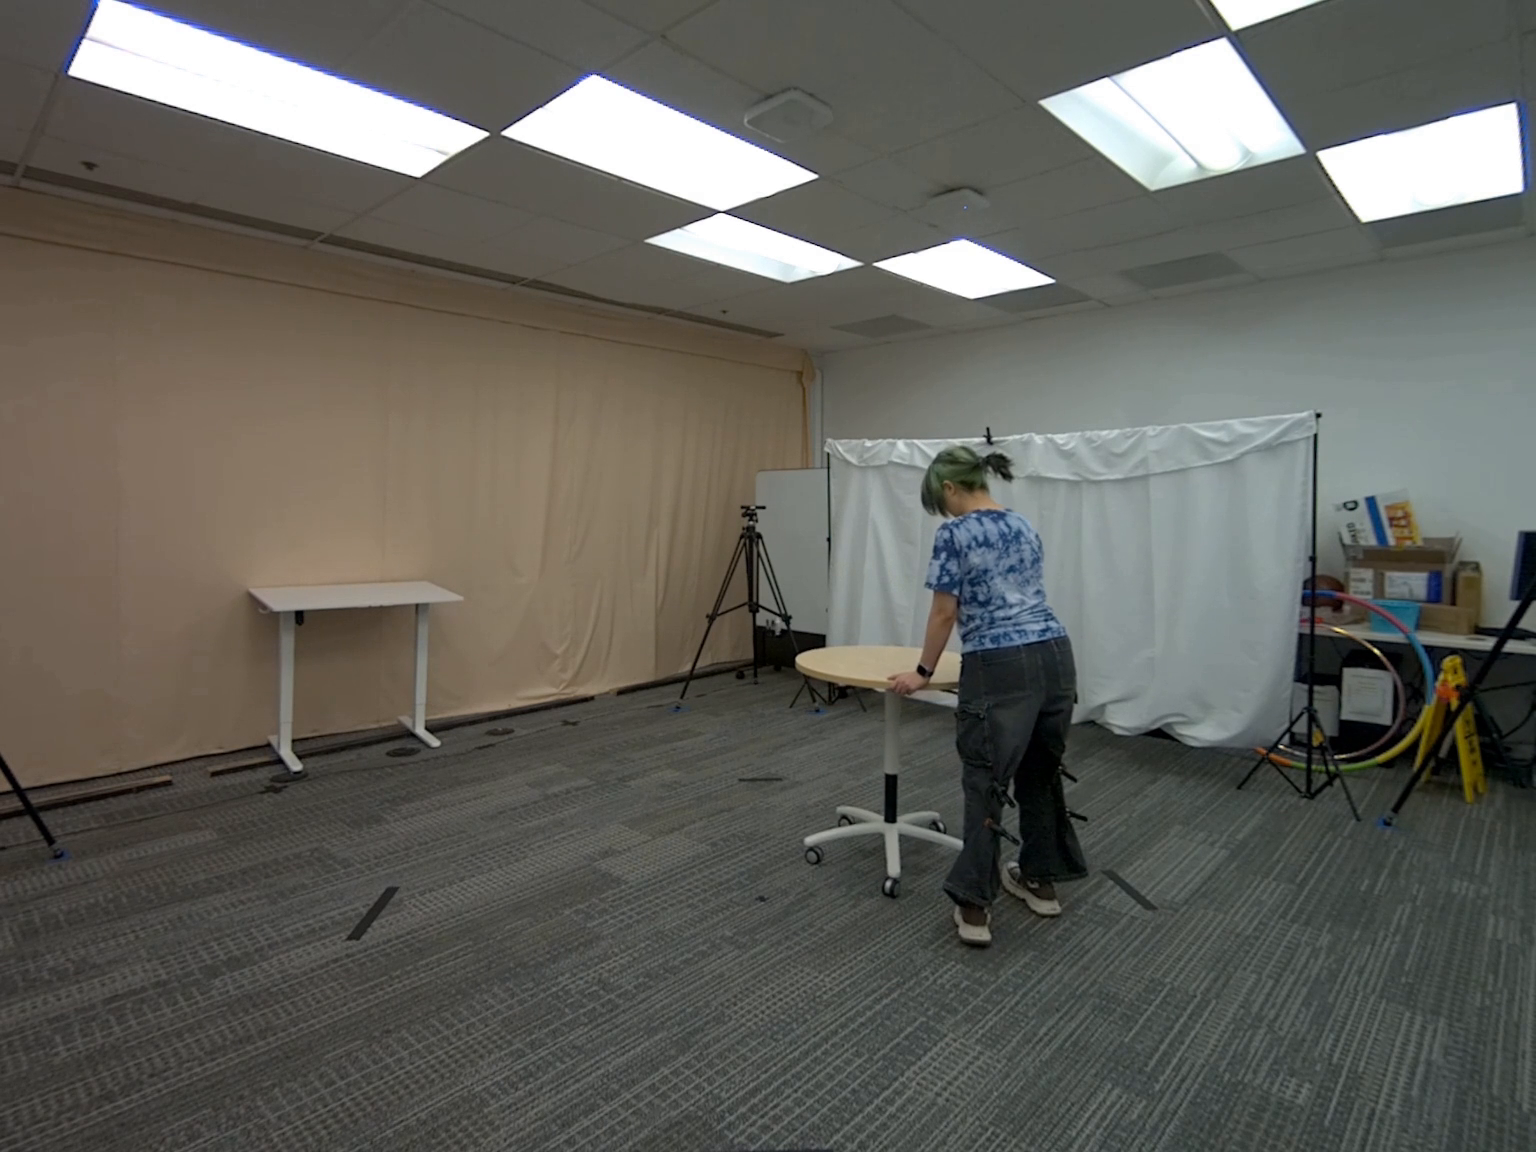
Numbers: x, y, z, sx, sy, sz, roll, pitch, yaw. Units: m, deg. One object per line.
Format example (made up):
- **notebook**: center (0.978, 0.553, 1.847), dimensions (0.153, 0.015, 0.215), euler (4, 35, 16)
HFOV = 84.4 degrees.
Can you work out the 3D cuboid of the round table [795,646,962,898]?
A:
- **round table**: center (0.492, 0.728, 3.322), dimensions (0.763, 0.792, 0.767), euler (1, 4, -2)
